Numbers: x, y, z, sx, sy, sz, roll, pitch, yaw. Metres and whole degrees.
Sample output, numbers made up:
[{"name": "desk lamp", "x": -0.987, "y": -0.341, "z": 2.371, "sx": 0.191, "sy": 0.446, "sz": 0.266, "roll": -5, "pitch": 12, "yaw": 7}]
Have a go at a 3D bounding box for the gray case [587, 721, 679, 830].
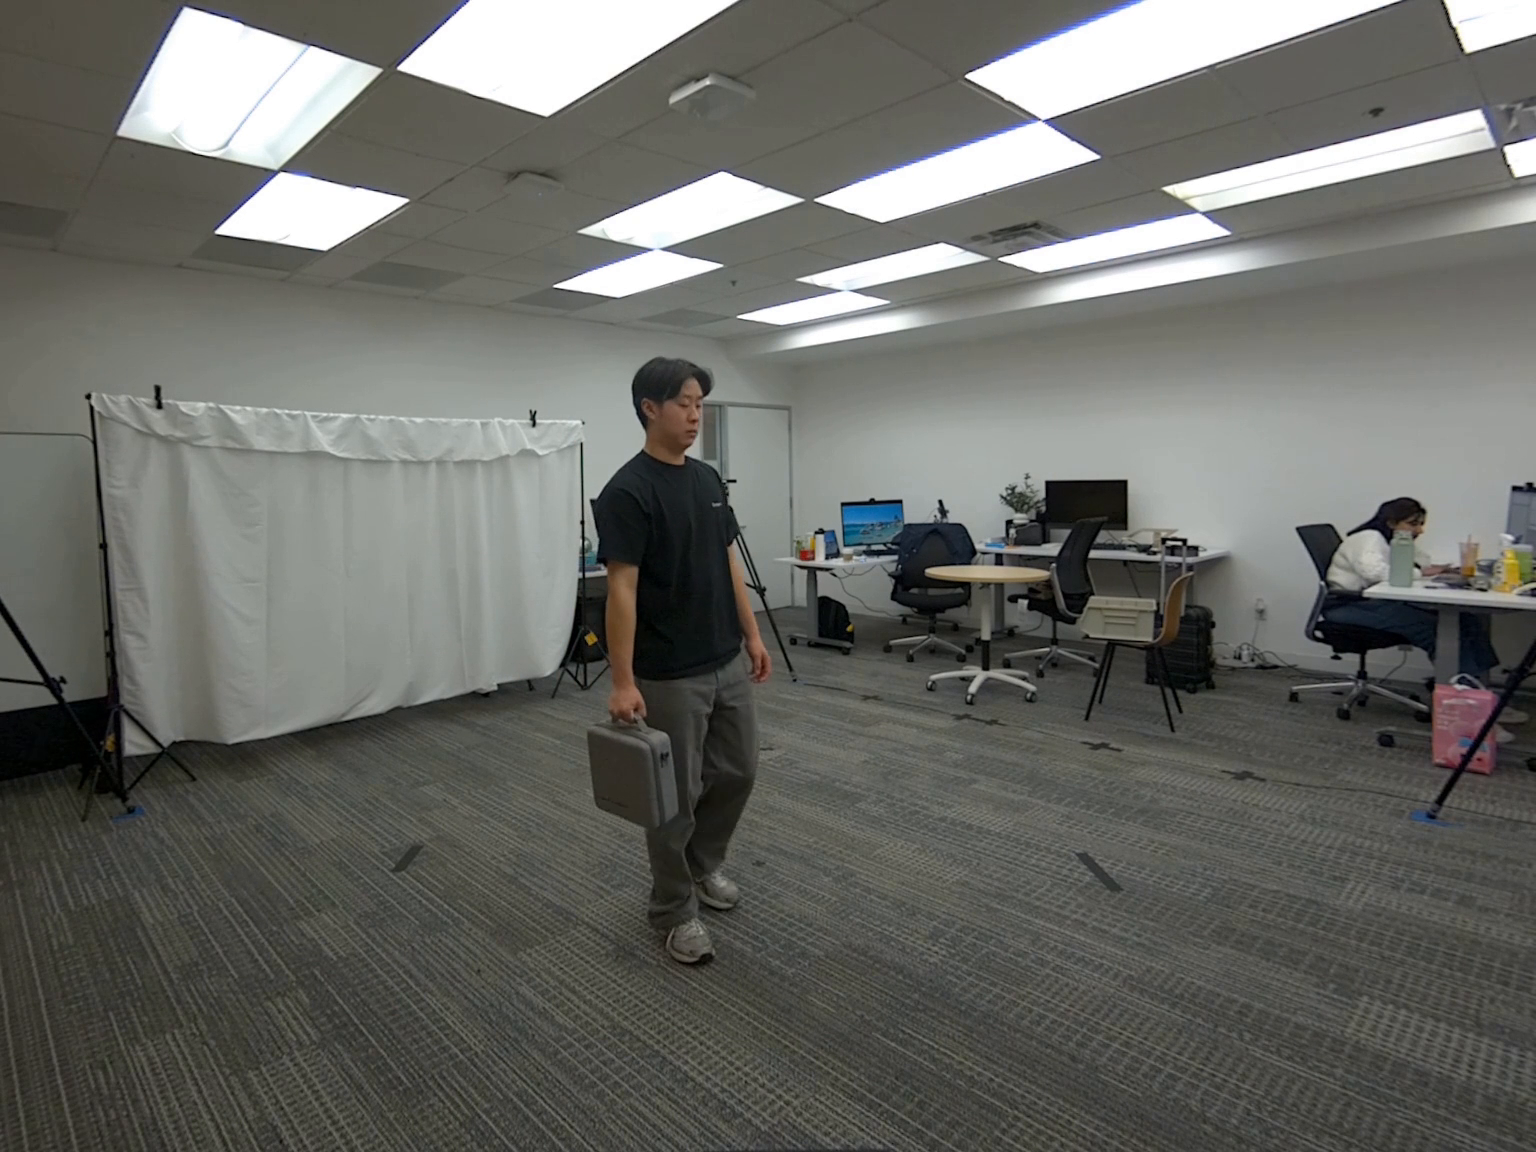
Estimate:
[{"name": "gray case", "x": -0.370, "y": 0.517, "z": 2.332, "sx": 0.272, "sy": 0.284, "sz": 0.101, "roll": 8, "pitch": 14, "yaw": 42}]
